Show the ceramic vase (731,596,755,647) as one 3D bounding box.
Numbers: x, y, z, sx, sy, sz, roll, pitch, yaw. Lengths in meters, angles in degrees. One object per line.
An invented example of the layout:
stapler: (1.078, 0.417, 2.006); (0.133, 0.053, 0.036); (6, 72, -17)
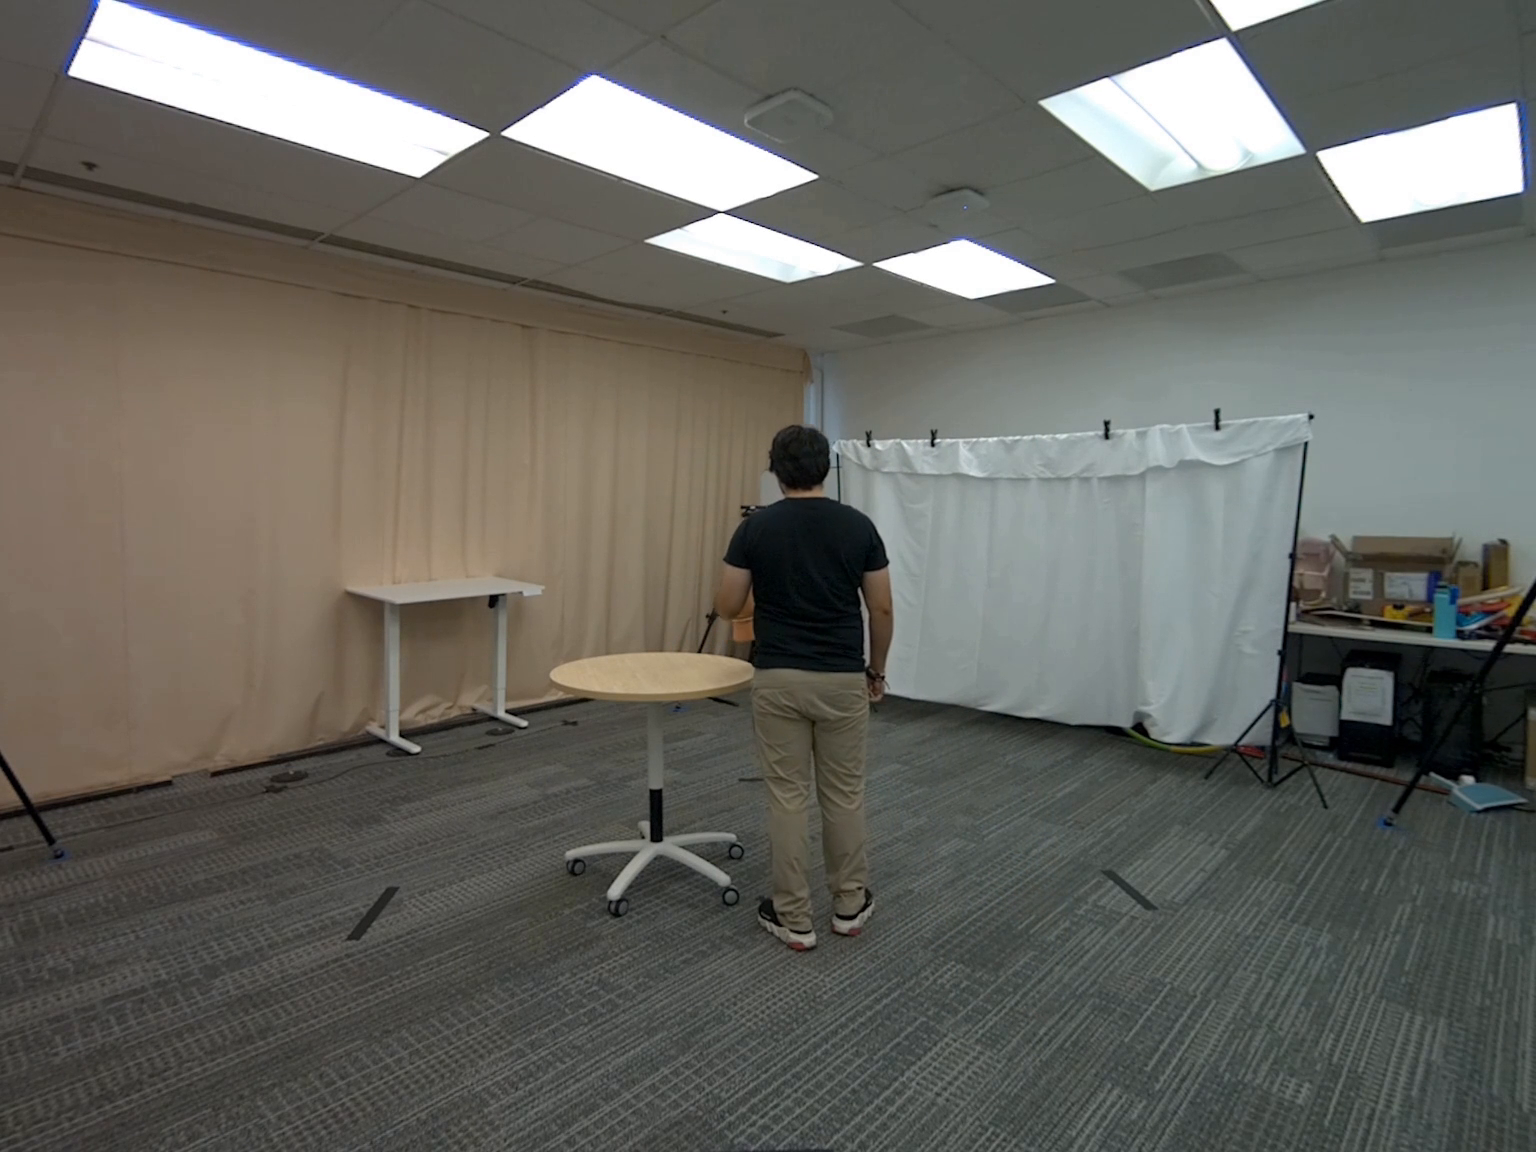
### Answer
ceramic vase: (-0.096, 0.130, 3.170); (0.155, 0.219, 0.138); (-6, 5, -28)
